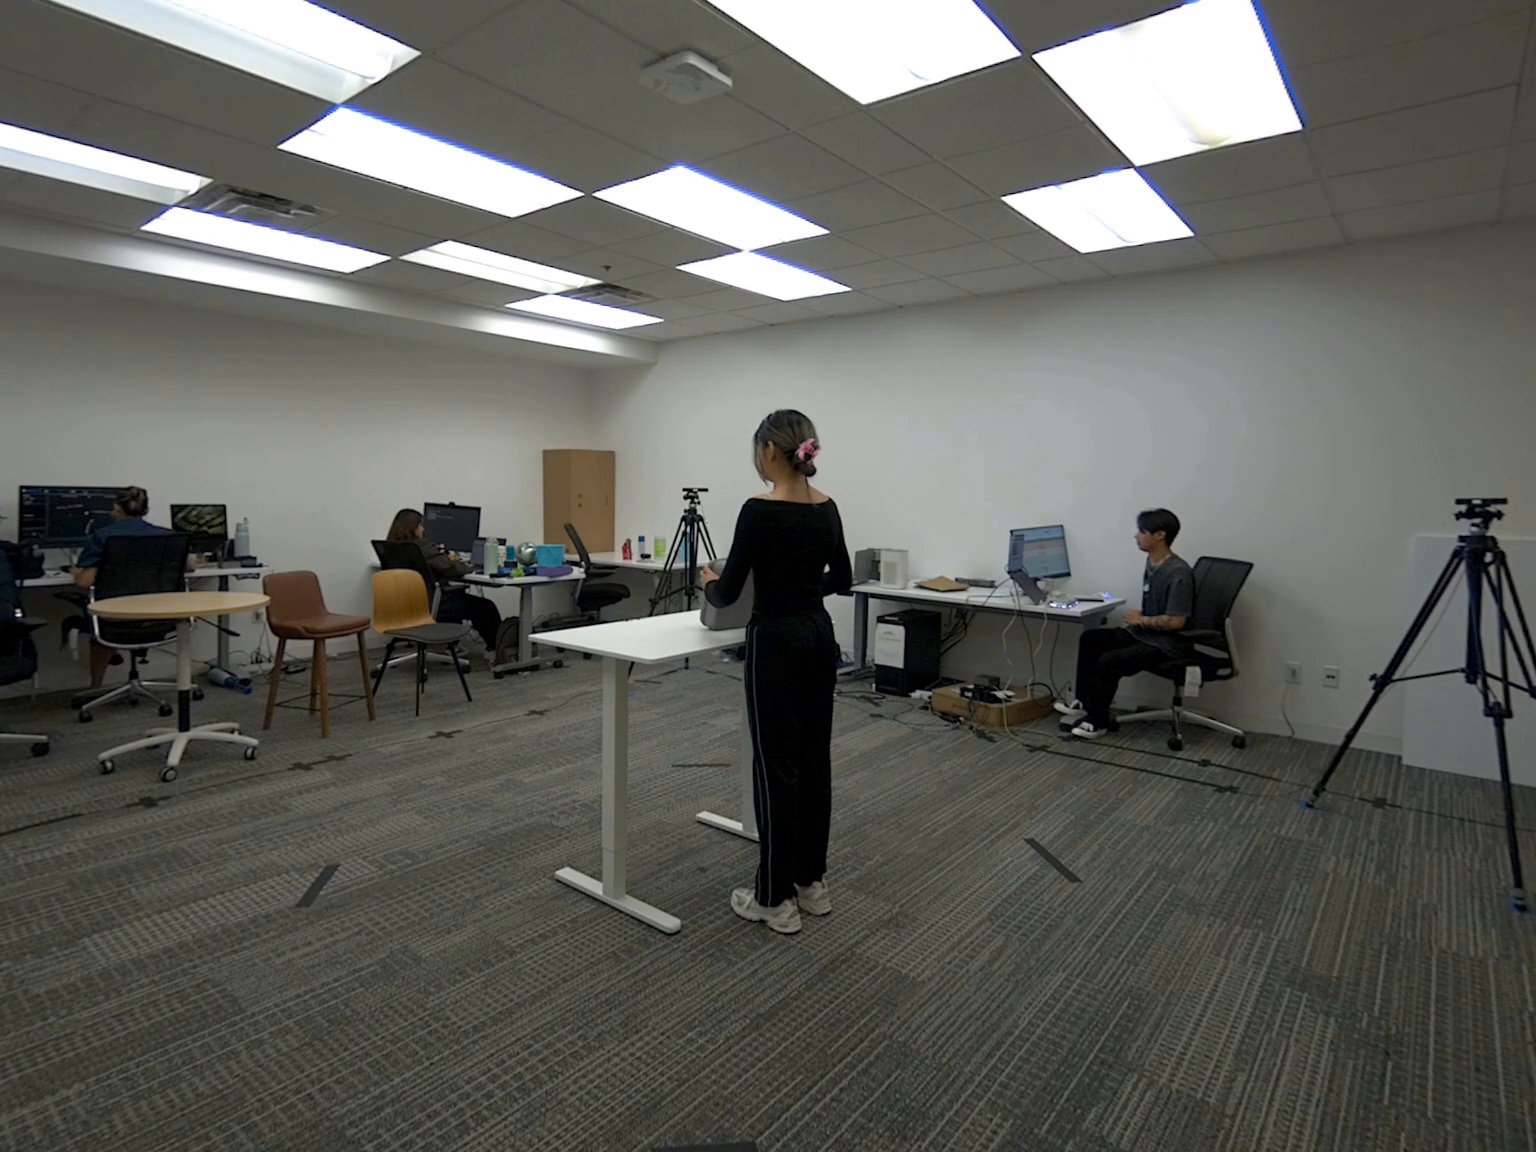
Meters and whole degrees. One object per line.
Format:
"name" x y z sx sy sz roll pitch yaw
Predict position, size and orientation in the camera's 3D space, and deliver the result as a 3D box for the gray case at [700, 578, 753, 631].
"gray case" -0.118 0.056 3.104 0.249 0.258 0.108 -3 16 -37
